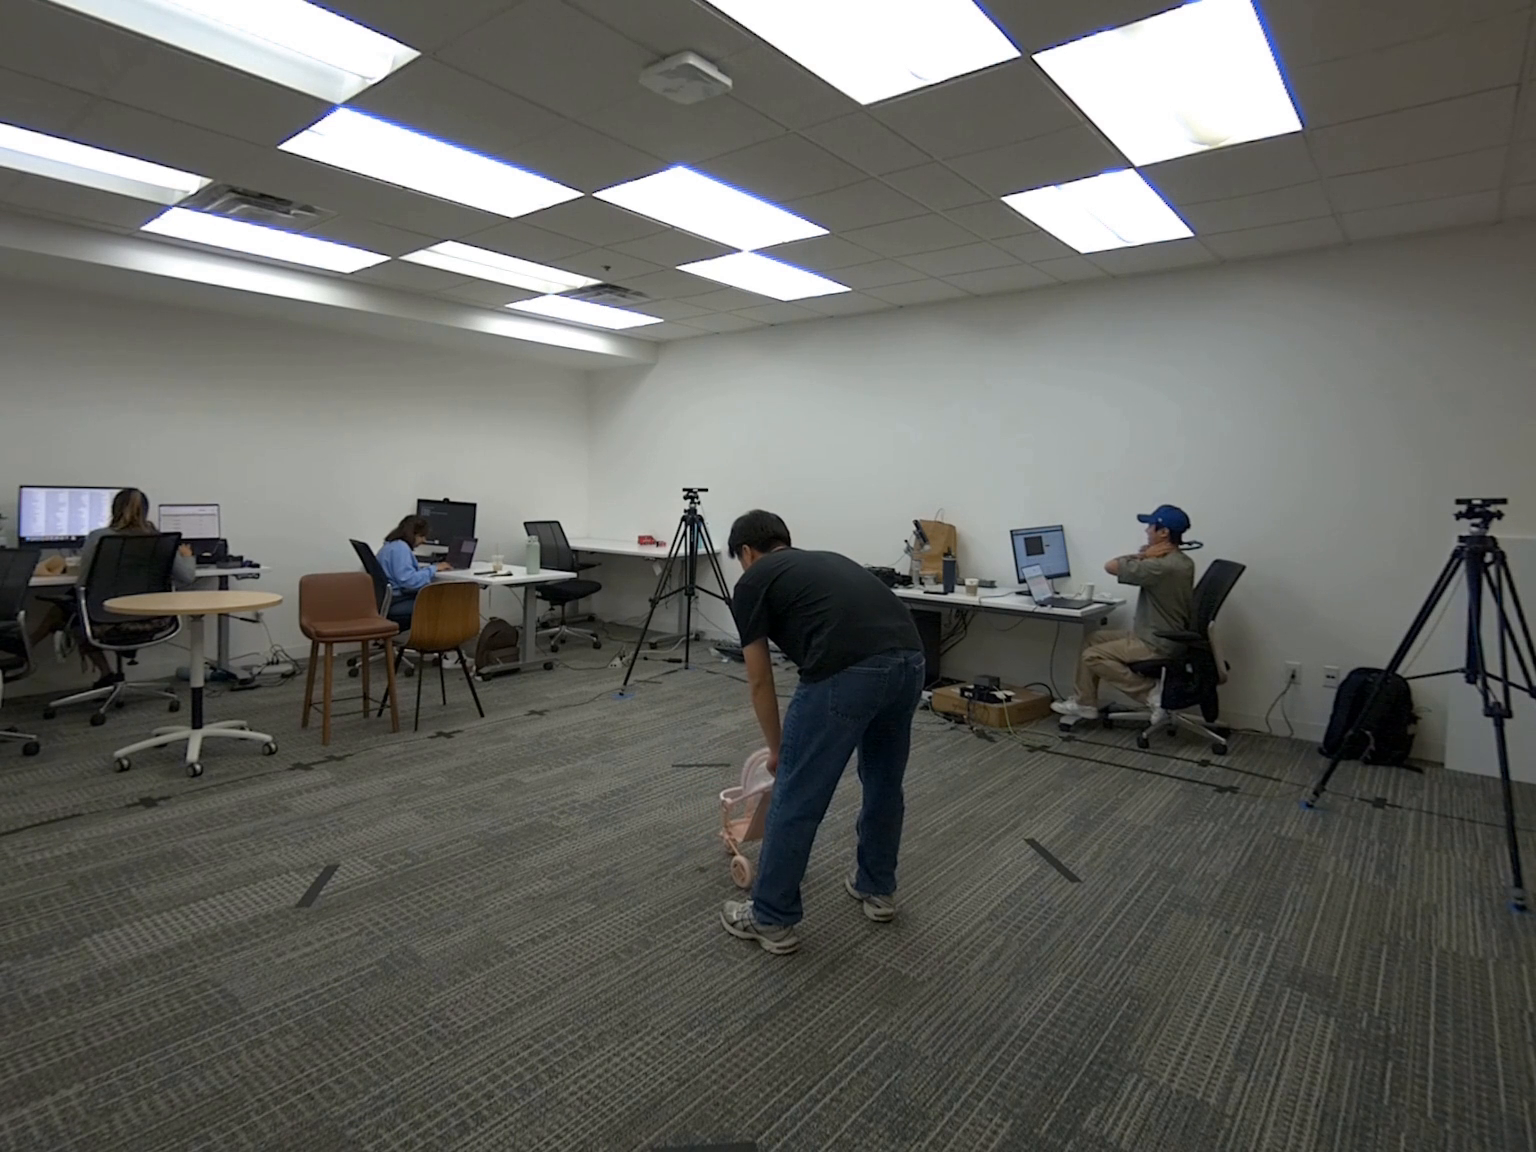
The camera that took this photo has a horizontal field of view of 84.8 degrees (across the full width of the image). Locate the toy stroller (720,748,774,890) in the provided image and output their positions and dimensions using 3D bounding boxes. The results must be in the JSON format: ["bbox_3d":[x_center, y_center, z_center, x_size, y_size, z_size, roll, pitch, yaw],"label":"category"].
[{"bbox_3d":[-0.035,0.851,3.085,0.274,0.528,0.355,0,21,-32],"label":"toy stroller"}]
